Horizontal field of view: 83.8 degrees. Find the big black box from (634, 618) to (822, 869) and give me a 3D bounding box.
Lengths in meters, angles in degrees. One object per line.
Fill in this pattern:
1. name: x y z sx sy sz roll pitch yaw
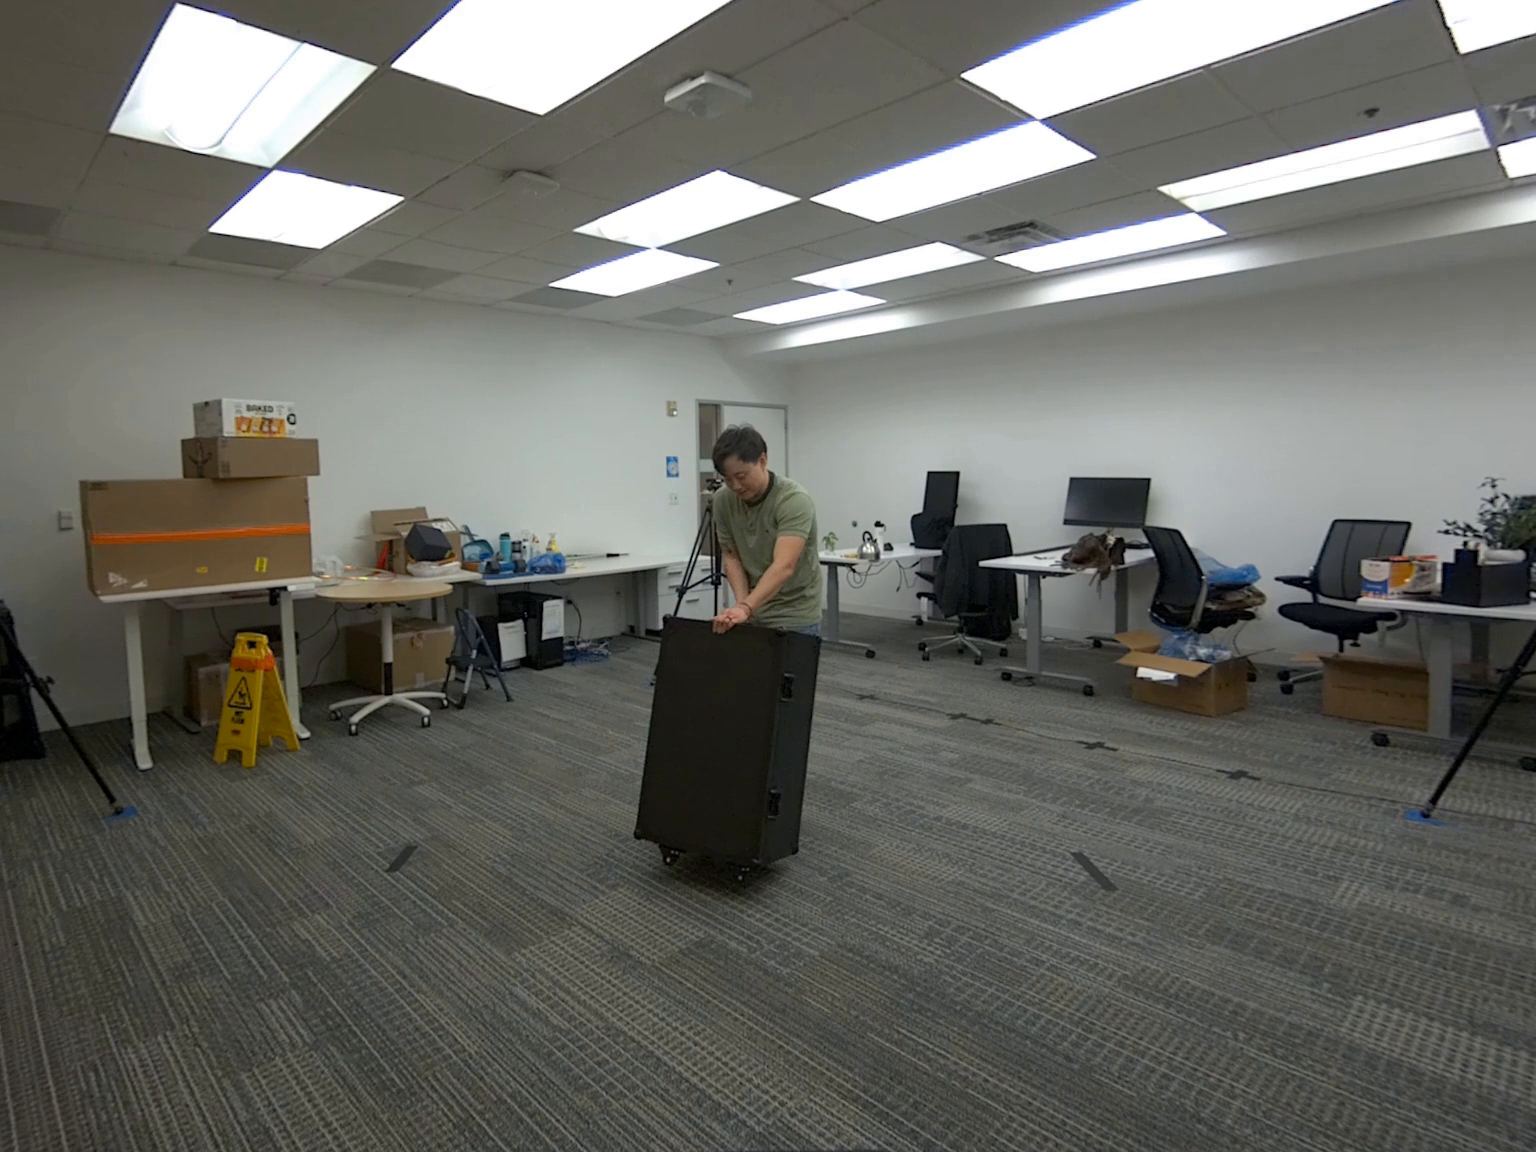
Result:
1. big black box: -0.141 0.603 3.087 0.534 0.867 0.384 3 -9 27
